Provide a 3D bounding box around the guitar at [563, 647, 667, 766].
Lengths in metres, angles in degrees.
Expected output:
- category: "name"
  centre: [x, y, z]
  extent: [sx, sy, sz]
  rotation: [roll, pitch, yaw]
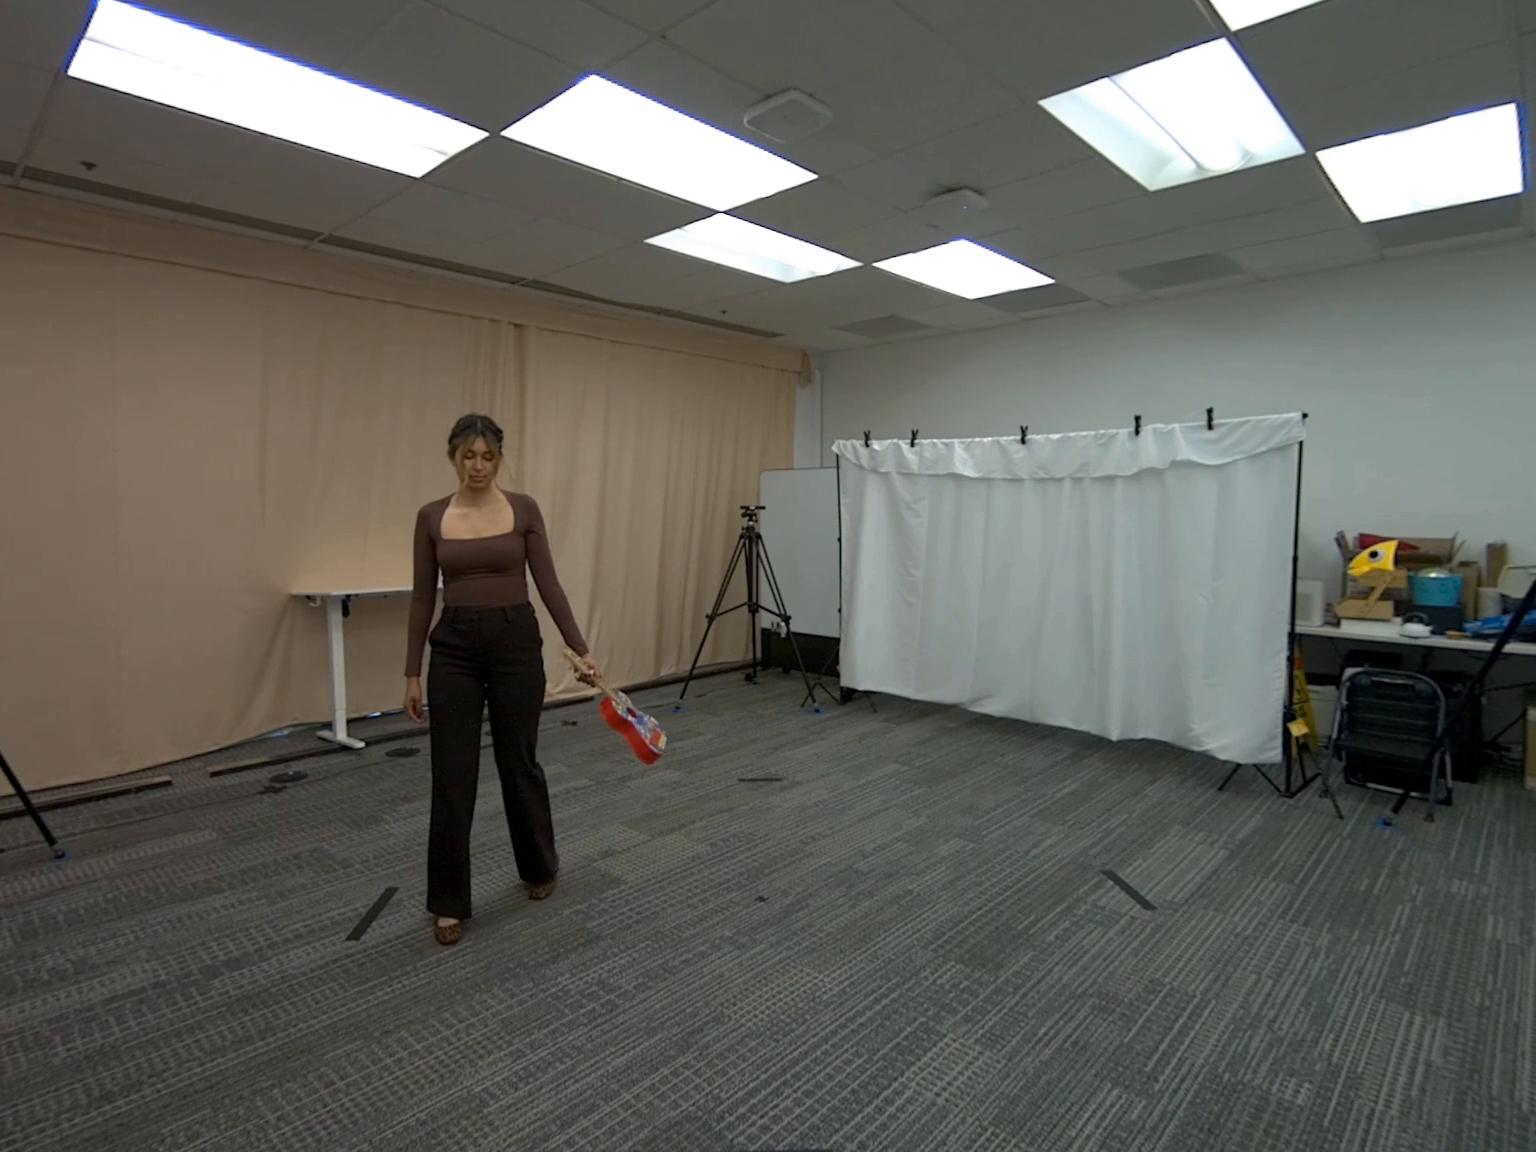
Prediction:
- category: "guitar"
  centre: [-0.526, 0.427, 2.900]
  extent: [0.071, 0.498, 0.192]
  rotation: [-44, 0, 11]
